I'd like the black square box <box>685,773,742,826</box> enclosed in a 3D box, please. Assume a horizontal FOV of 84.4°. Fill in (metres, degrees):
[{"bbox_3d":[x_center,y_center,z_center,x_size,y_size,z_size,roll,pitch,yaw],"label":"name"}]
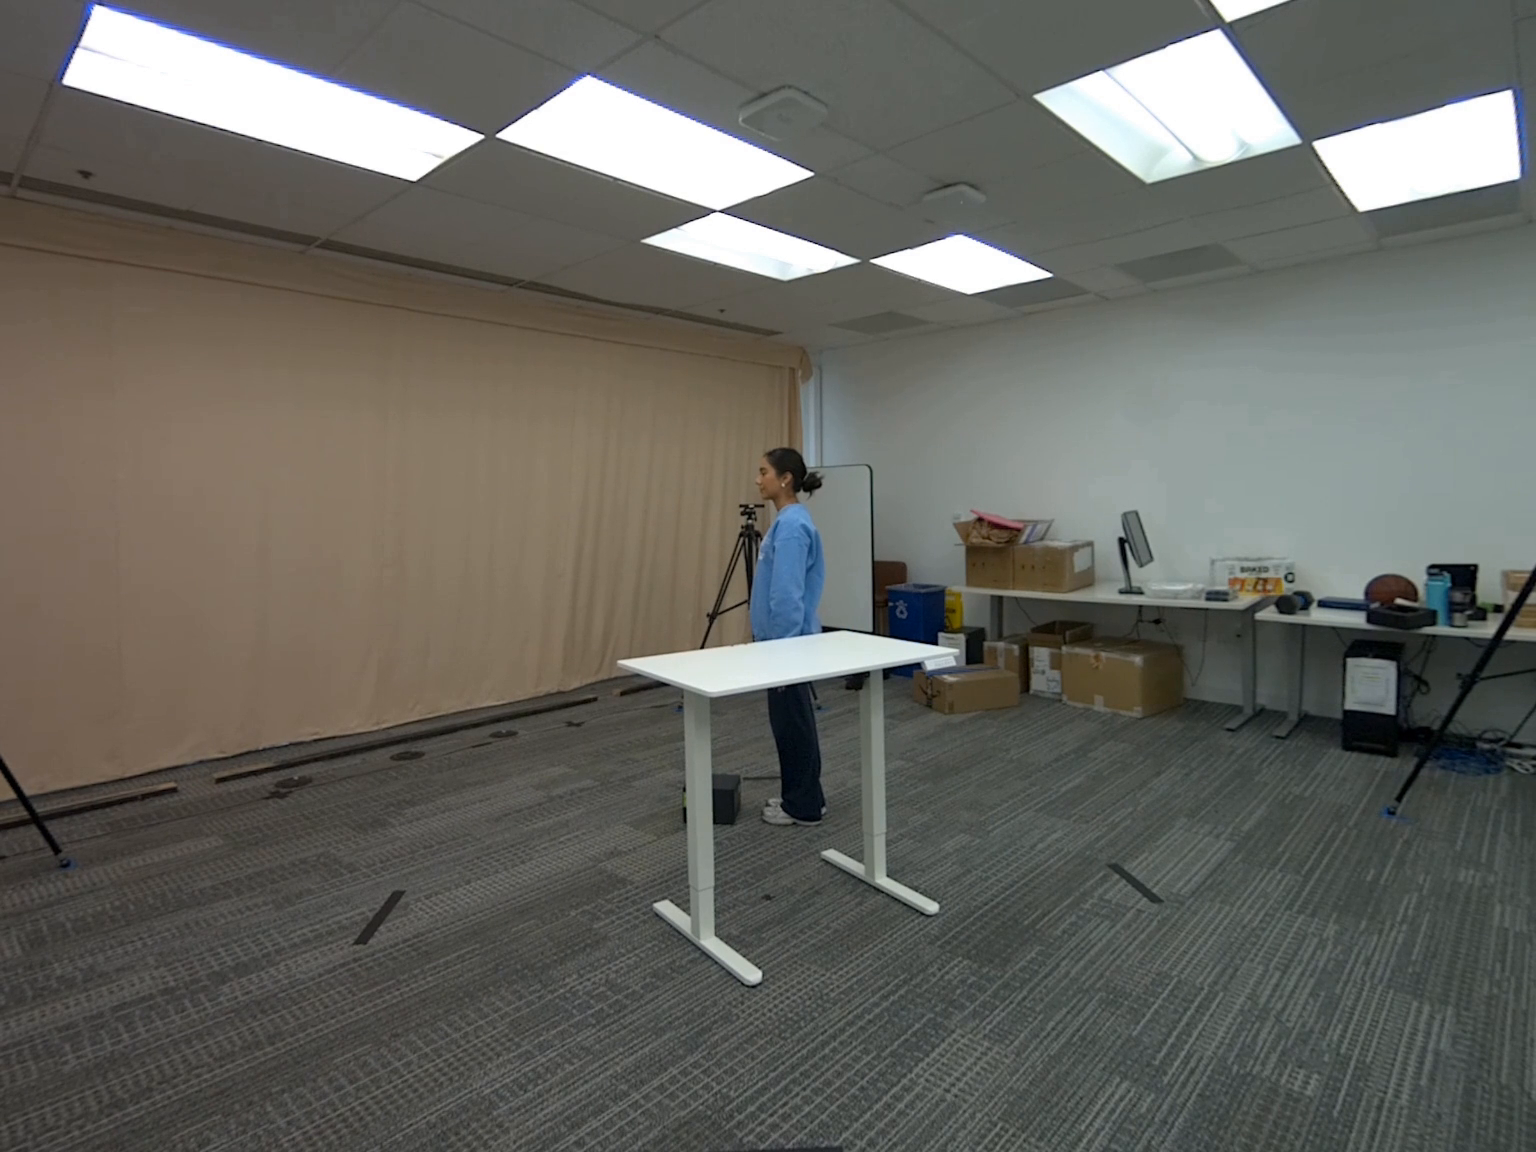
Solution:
[{"bbox_3d":[-0.249,1.000,3.797,0.230,0.156,0.215,-1,3,8],"label":"black square box"}]
